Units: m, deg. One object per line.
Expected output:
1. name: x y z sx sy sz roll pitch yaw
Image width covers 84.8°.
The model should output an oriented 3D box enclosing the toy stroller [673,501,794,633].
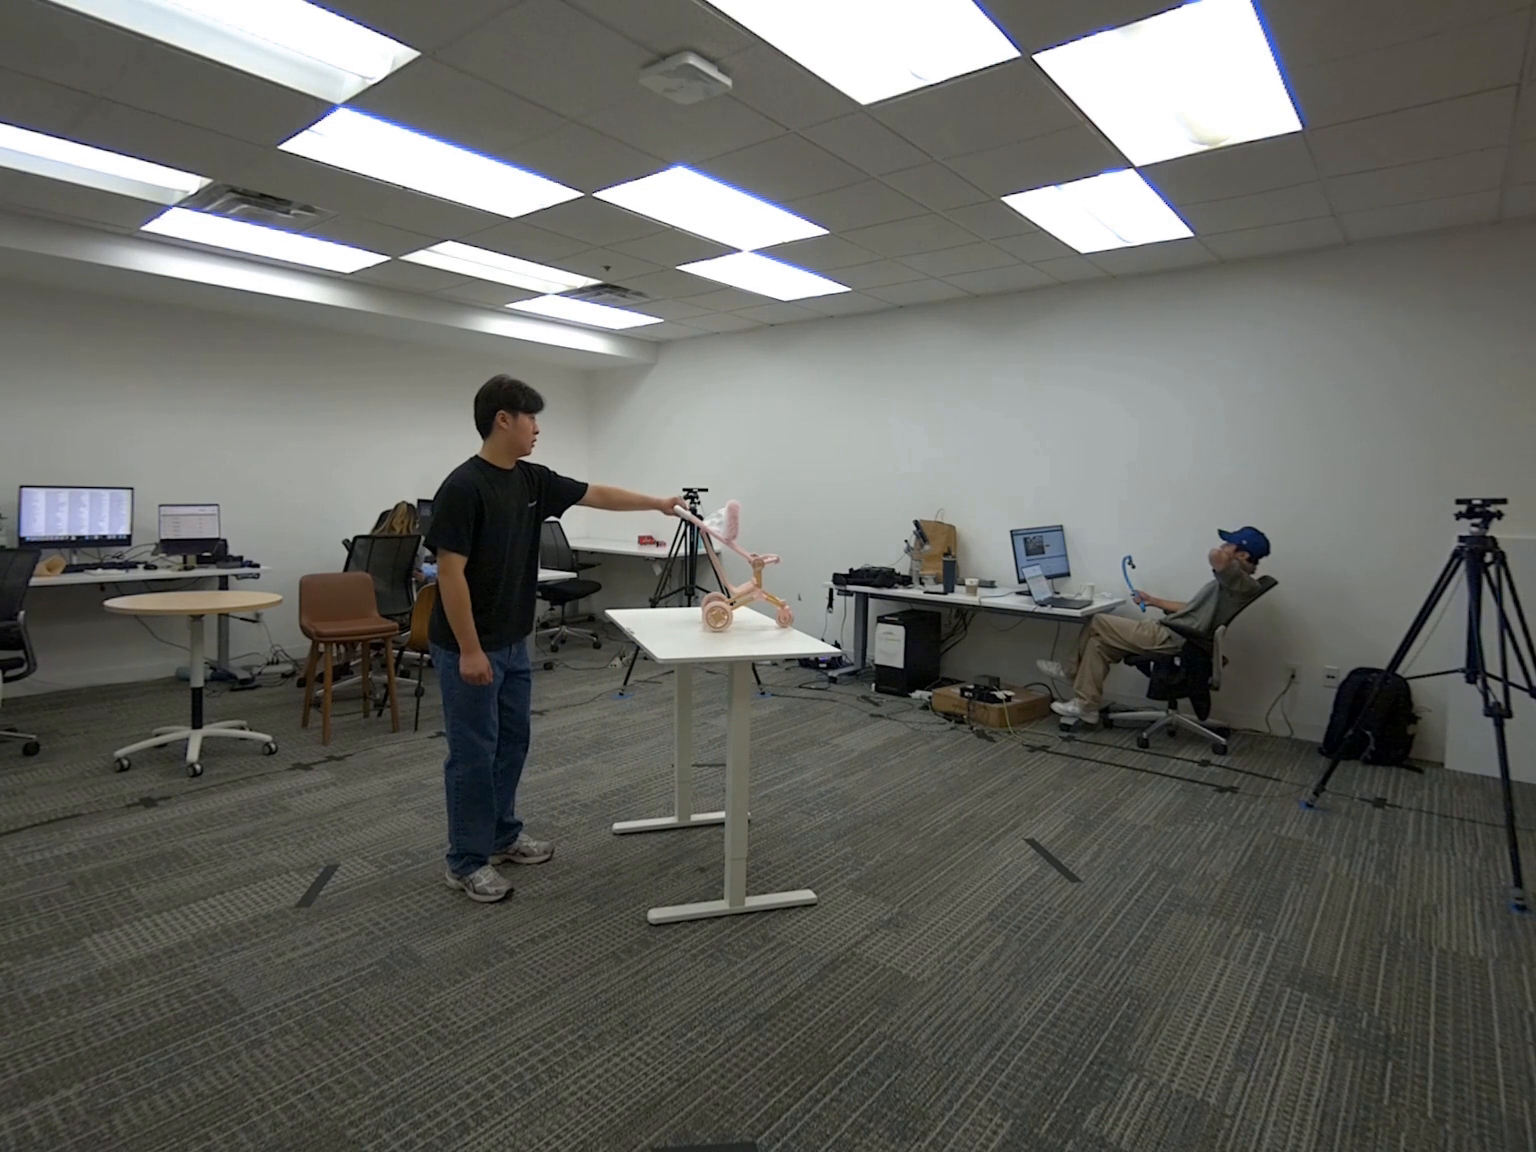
1. toy stroller: -0.128 -0.039 3.120 0.342 0.534 0.281 -13 2 3
